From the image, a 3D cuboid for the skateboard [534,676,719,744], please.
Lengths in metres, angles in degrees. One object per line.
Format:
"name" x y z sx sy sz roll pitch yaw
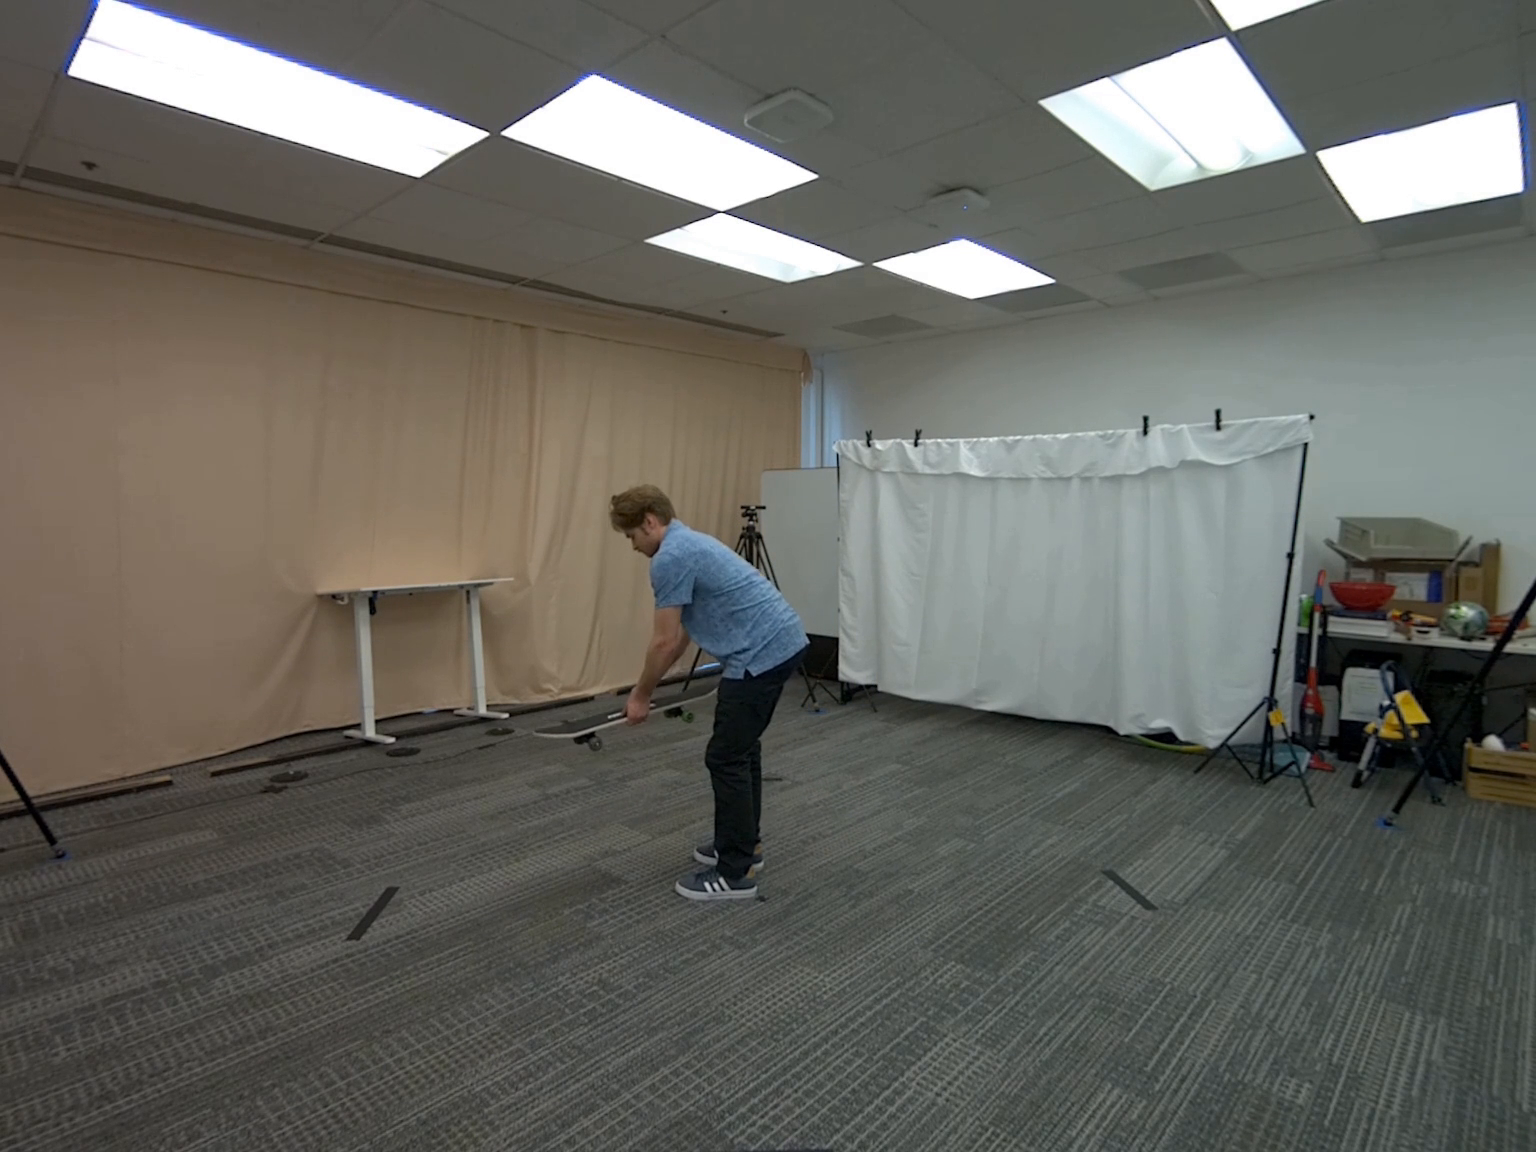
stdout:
"skateboard" -0.526 0.567 3.265 0.766 0.110 0.198 -11 3 -30
